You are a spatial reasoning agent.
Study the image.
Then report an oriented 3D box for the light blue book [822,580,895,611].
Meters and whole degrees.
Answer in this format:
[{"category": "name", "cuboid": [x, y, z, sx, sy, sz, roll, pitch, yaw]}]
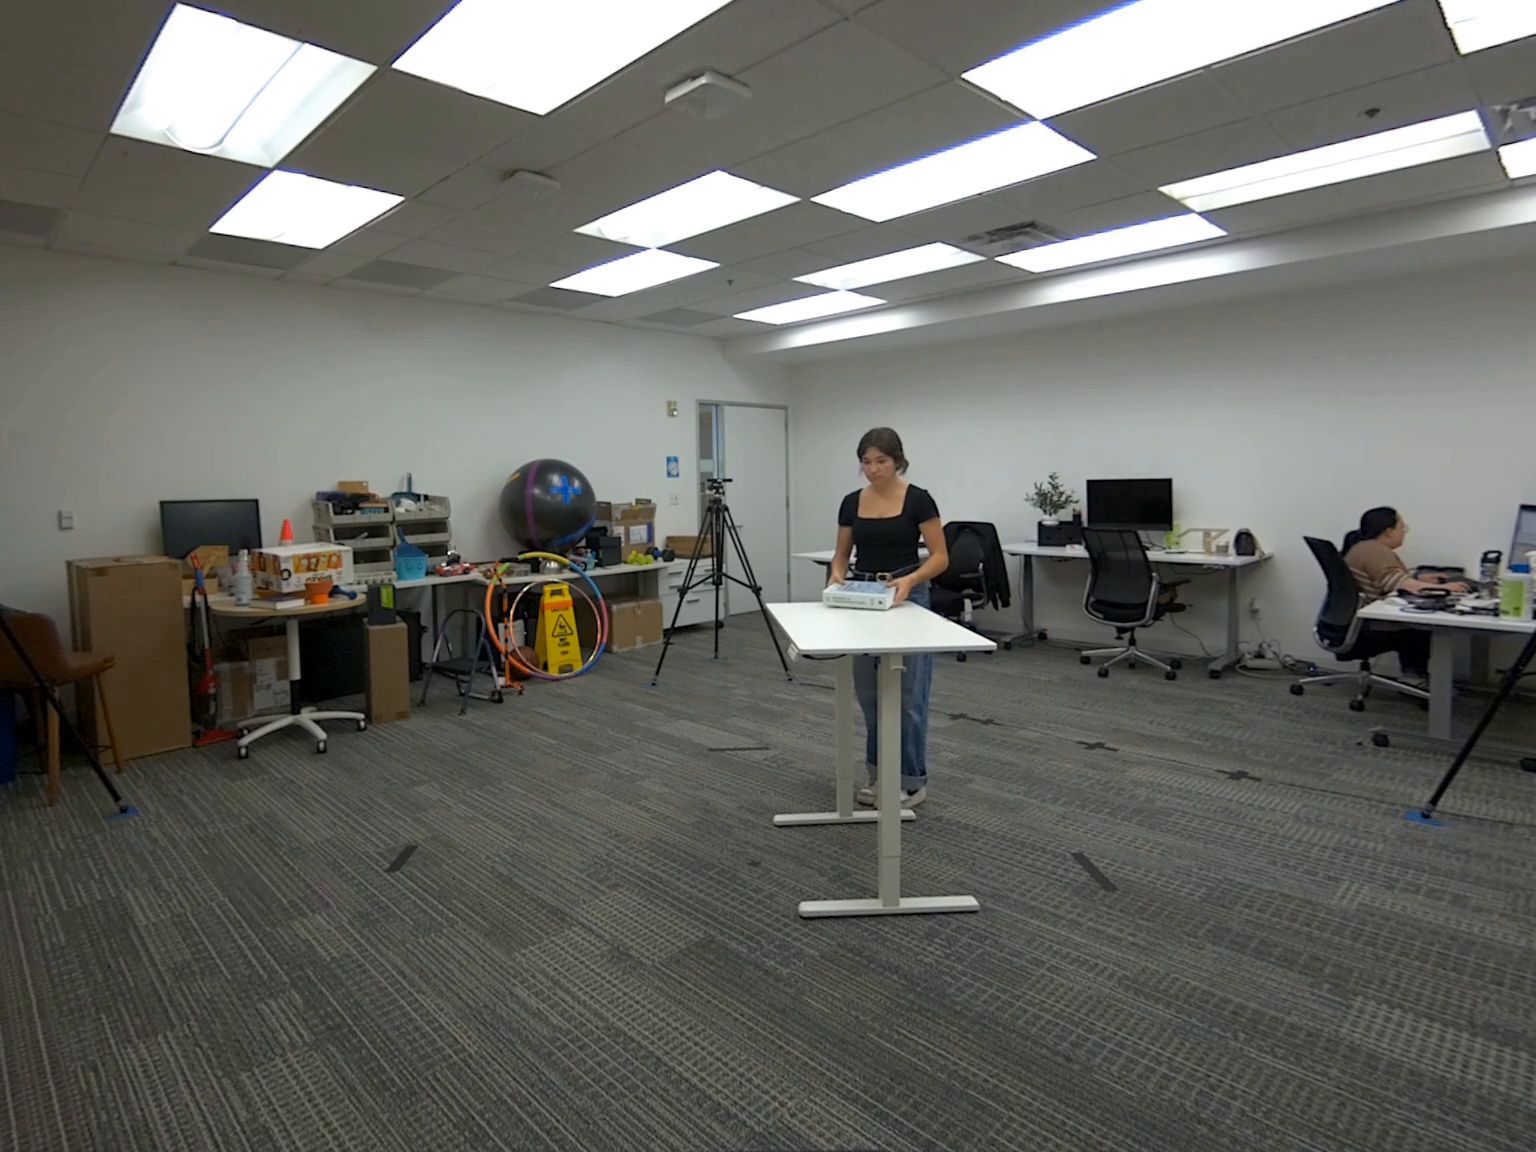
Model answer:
[{"category": "light blue book", "cuboid": [0.377, 0.075, 3.416, 0.267, 0.058, 0.189, 3, 14, 25]}]
